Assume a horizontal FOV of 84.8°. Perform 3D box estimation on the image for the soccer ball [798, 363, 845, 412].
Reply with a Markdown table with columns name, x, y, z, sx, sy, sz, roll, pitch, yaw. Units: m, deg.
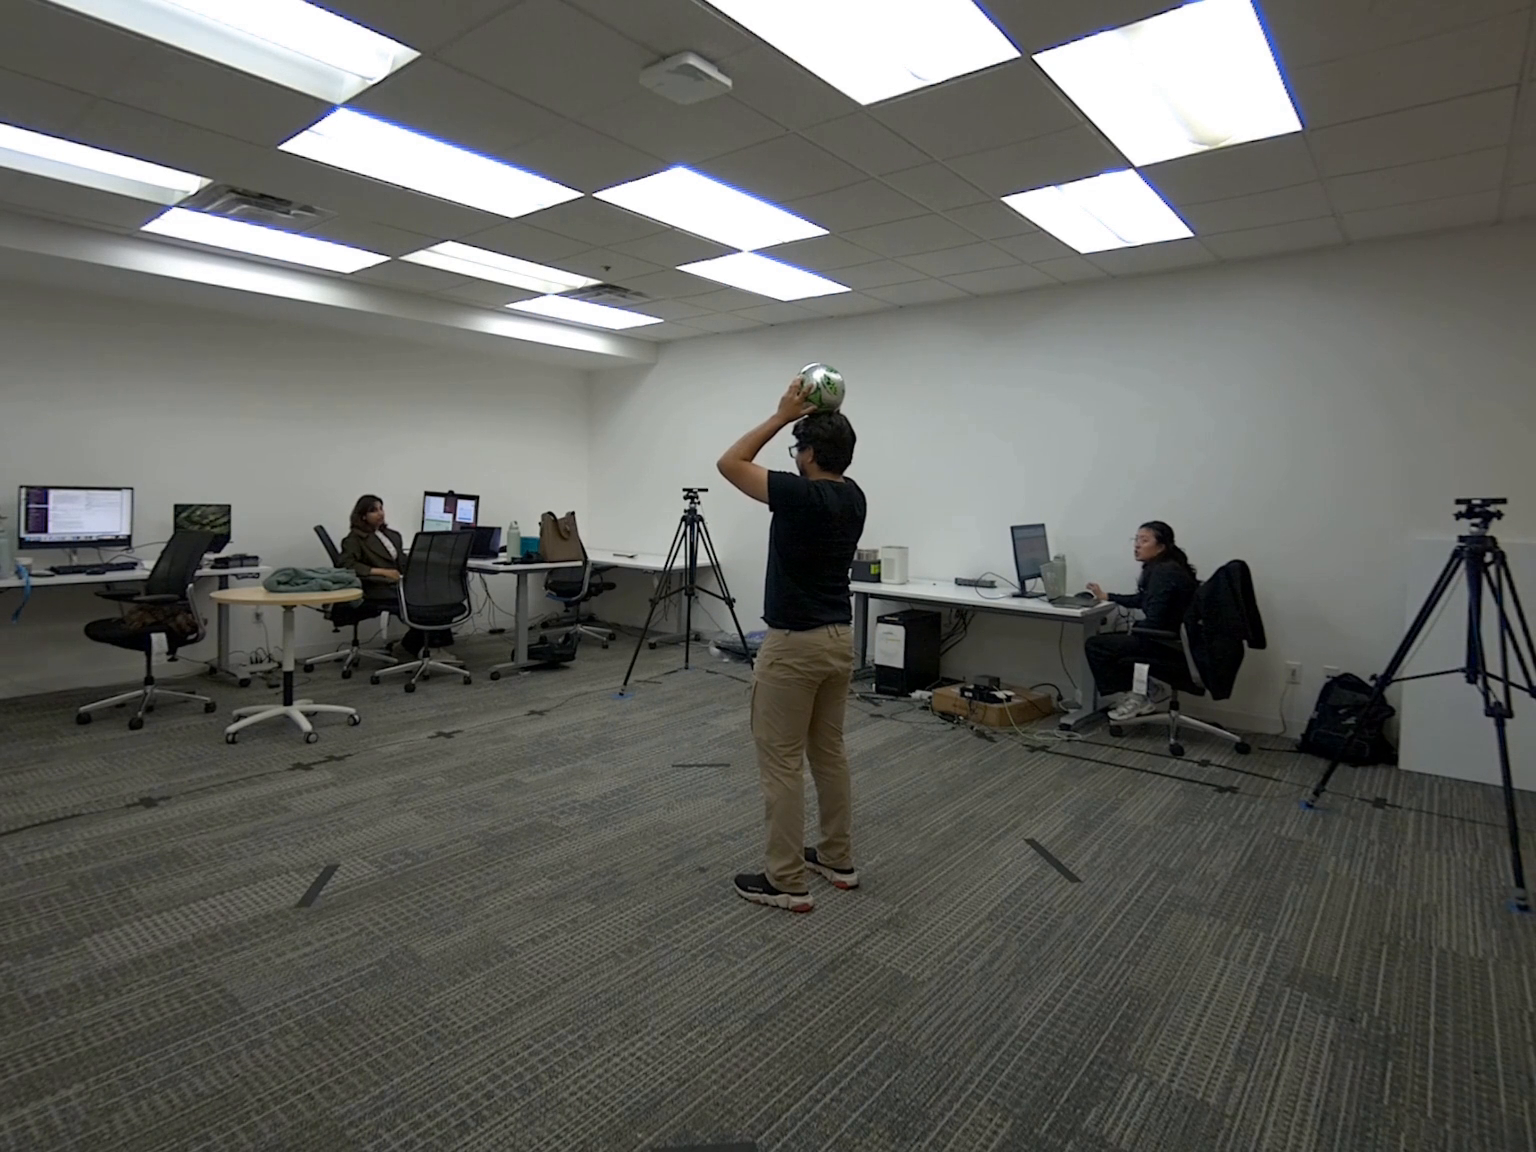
| name | x | y | z | sx | sy | sz | roll | pitch | yaw |
| --- | --- | --- | --- | --- | --- | --- | --- | --- | --- |
| soccer ball | 0.169 | -0.649 | 2.983 | 0.187 | 0.187 | 0.188 | 1 | 4 | -2 |
